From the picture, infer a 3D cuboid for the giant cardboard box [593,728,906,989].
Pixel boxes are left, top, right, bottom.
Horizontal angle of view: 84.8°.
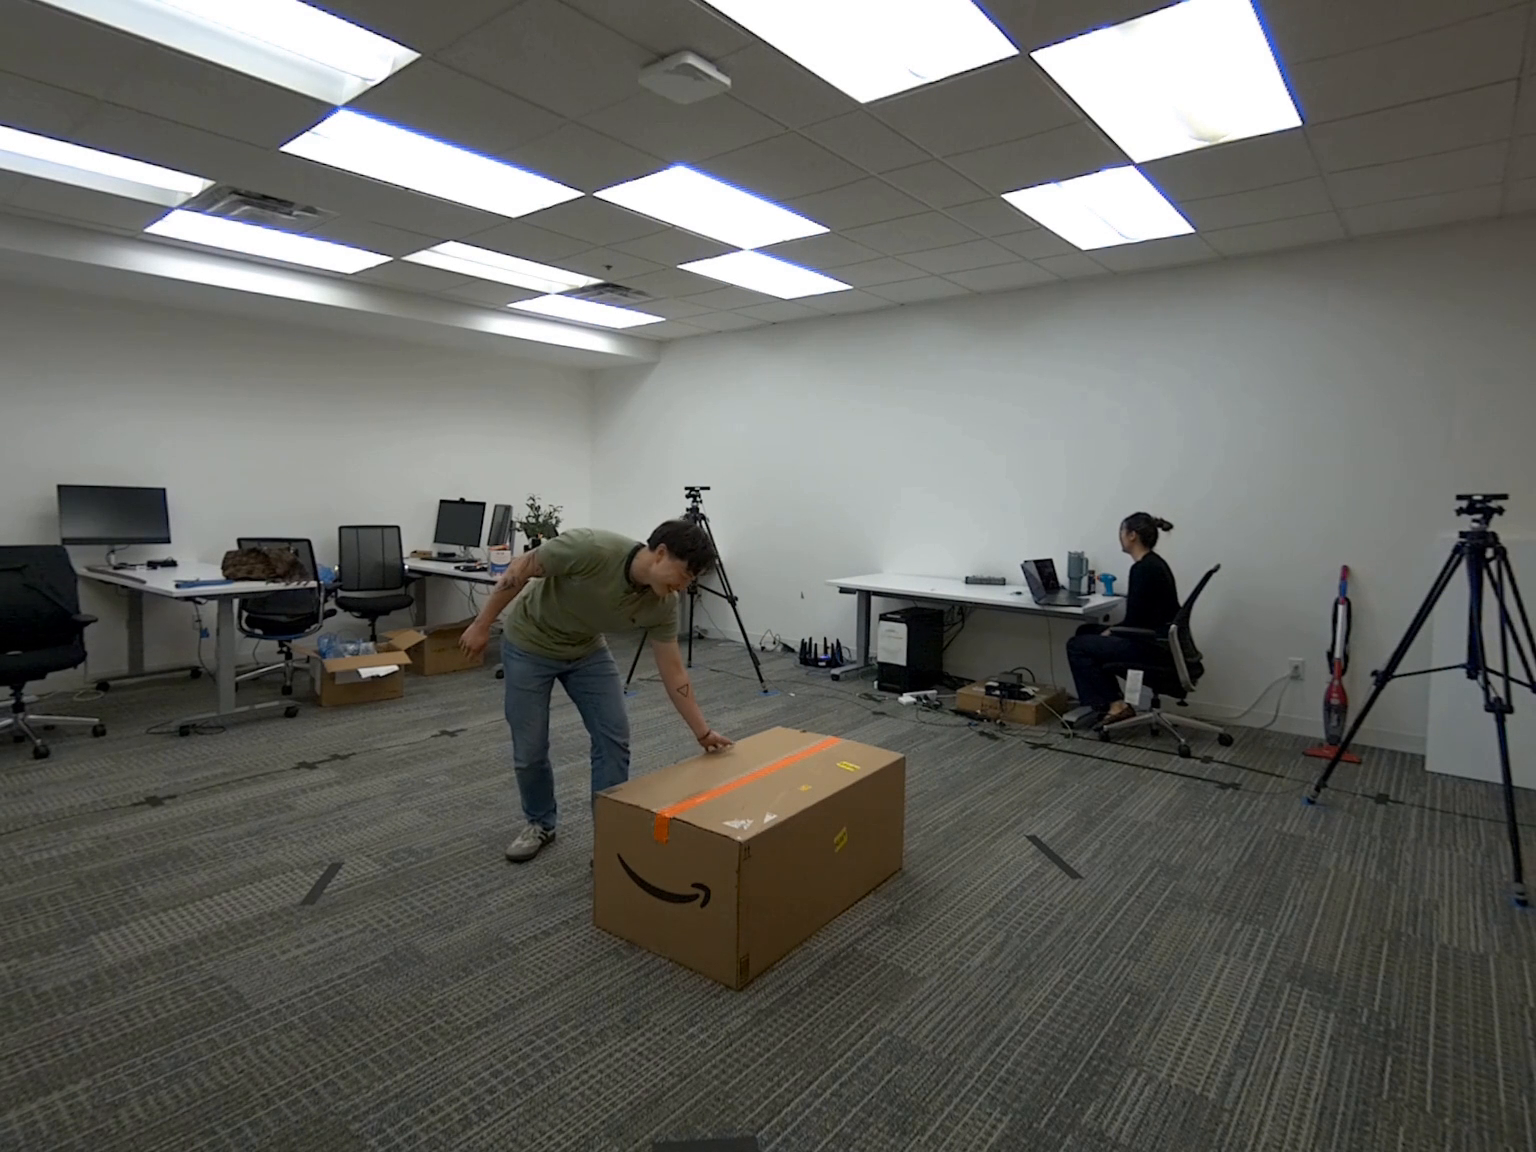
[{"bbox_3d":[-0.032,0.874,2.902,0.596,0.424,0.997,5,6,36],"label":"giant cardboard box"}]
